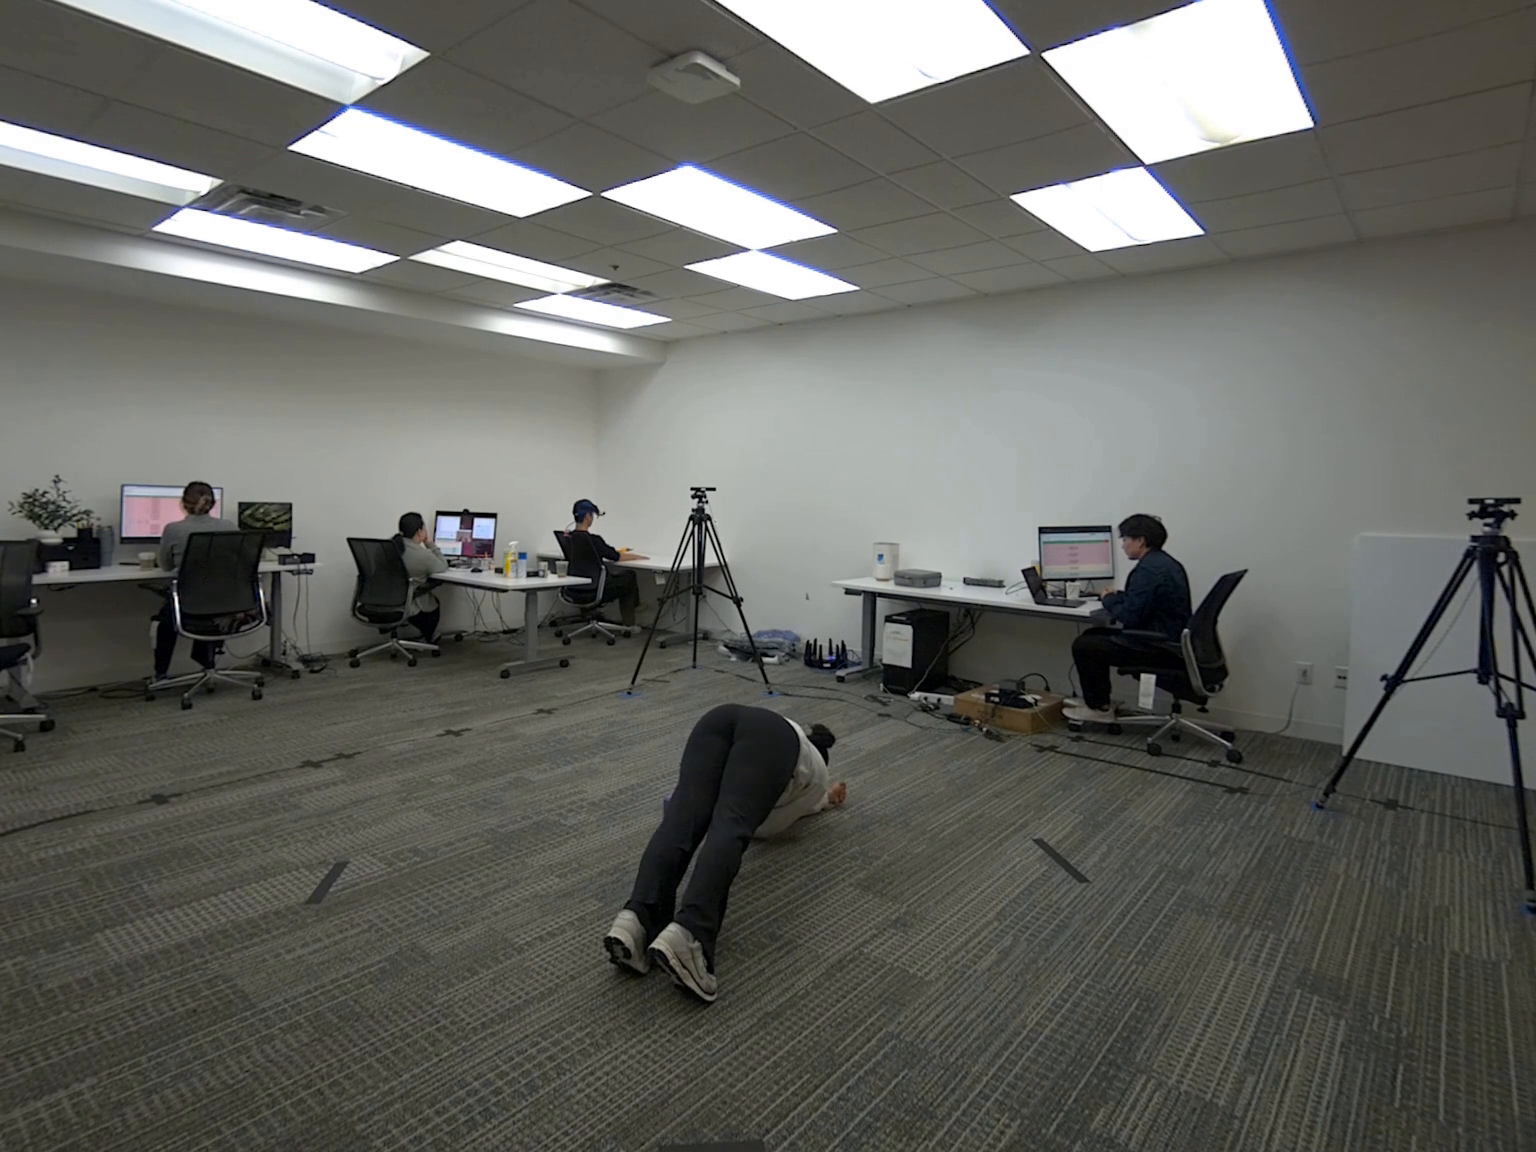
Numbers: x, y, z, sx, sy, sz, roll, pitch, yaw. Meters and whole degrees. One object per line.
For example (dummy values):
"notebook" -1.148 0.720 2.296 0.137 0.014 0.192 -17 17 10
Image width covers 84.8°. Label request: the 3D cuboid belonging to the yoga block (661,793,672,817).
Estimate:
"yoga block" -0.337 0.959 3.675 0.152 0.076 0.225 2 6 22
